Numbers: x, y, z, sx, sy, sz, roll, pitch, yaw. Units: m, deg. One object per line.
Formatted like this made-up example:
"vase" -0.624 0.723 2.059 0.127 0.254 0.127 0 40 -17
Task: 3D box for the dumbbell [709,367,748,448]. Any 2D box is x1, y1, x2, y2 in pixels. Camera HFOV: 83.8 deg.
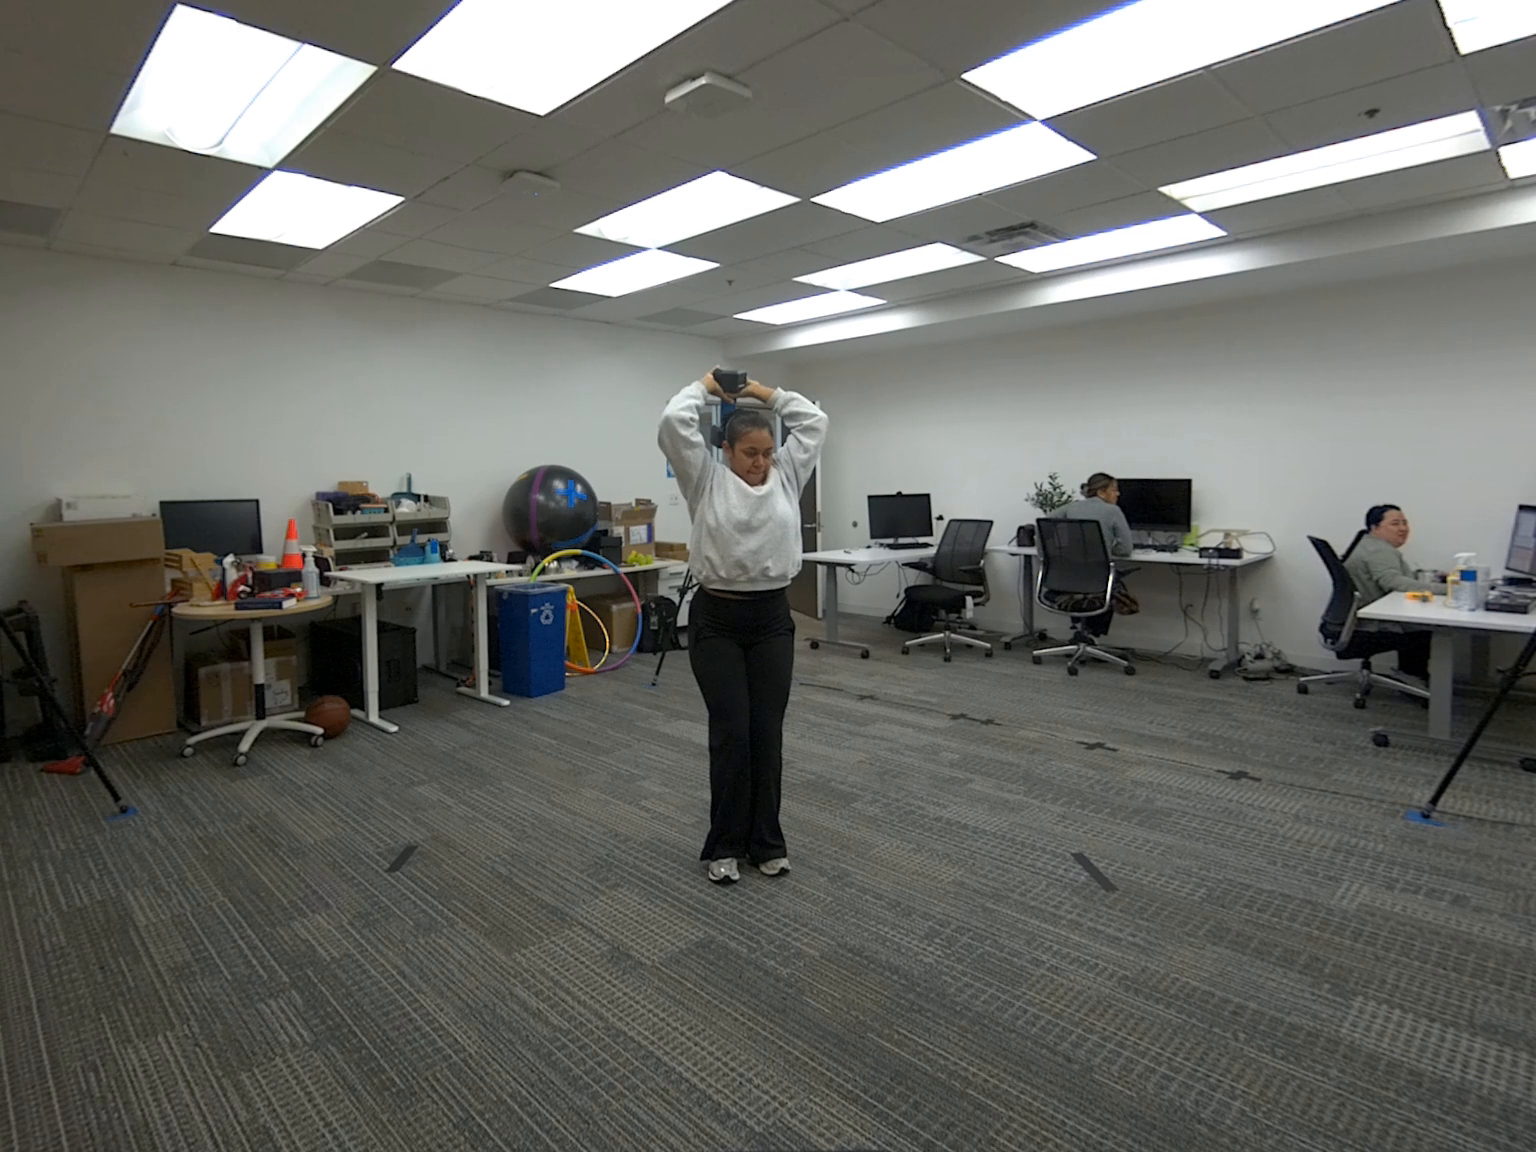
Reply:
"dumbbell" -0.138 -0.621 3.152 0.112 0.289 0.121 14 22 28
